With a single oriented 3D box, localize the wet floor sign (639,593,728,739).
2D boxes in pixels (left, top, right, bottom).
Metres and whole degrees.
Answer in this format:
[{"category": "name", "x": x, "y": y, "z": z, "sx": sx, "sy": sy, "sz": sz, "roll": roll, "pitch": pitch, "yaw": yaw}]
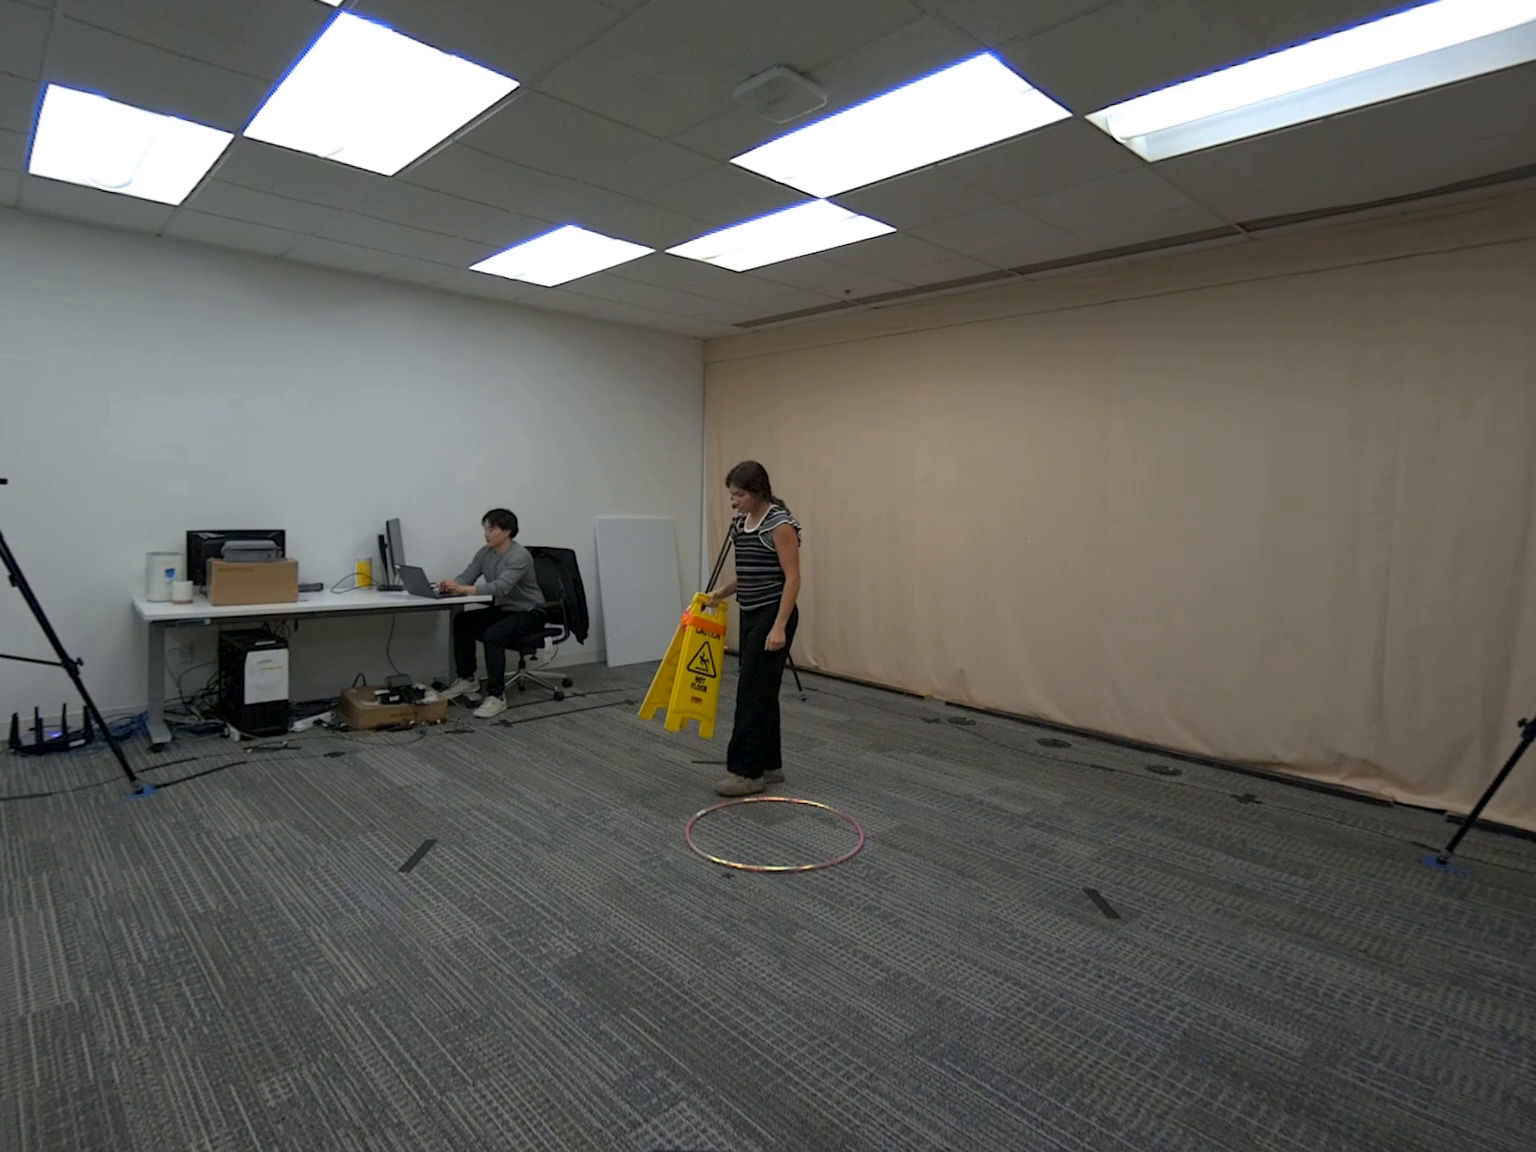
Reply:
[{"category": "wet floor sign", "x": -0.364, "y": 0.418, "z": 4.035, "sx": 0.274, "sy": 0.648, "sz": 0.297, "roll": 20, "pitch": -8, "yaw": -38}]
